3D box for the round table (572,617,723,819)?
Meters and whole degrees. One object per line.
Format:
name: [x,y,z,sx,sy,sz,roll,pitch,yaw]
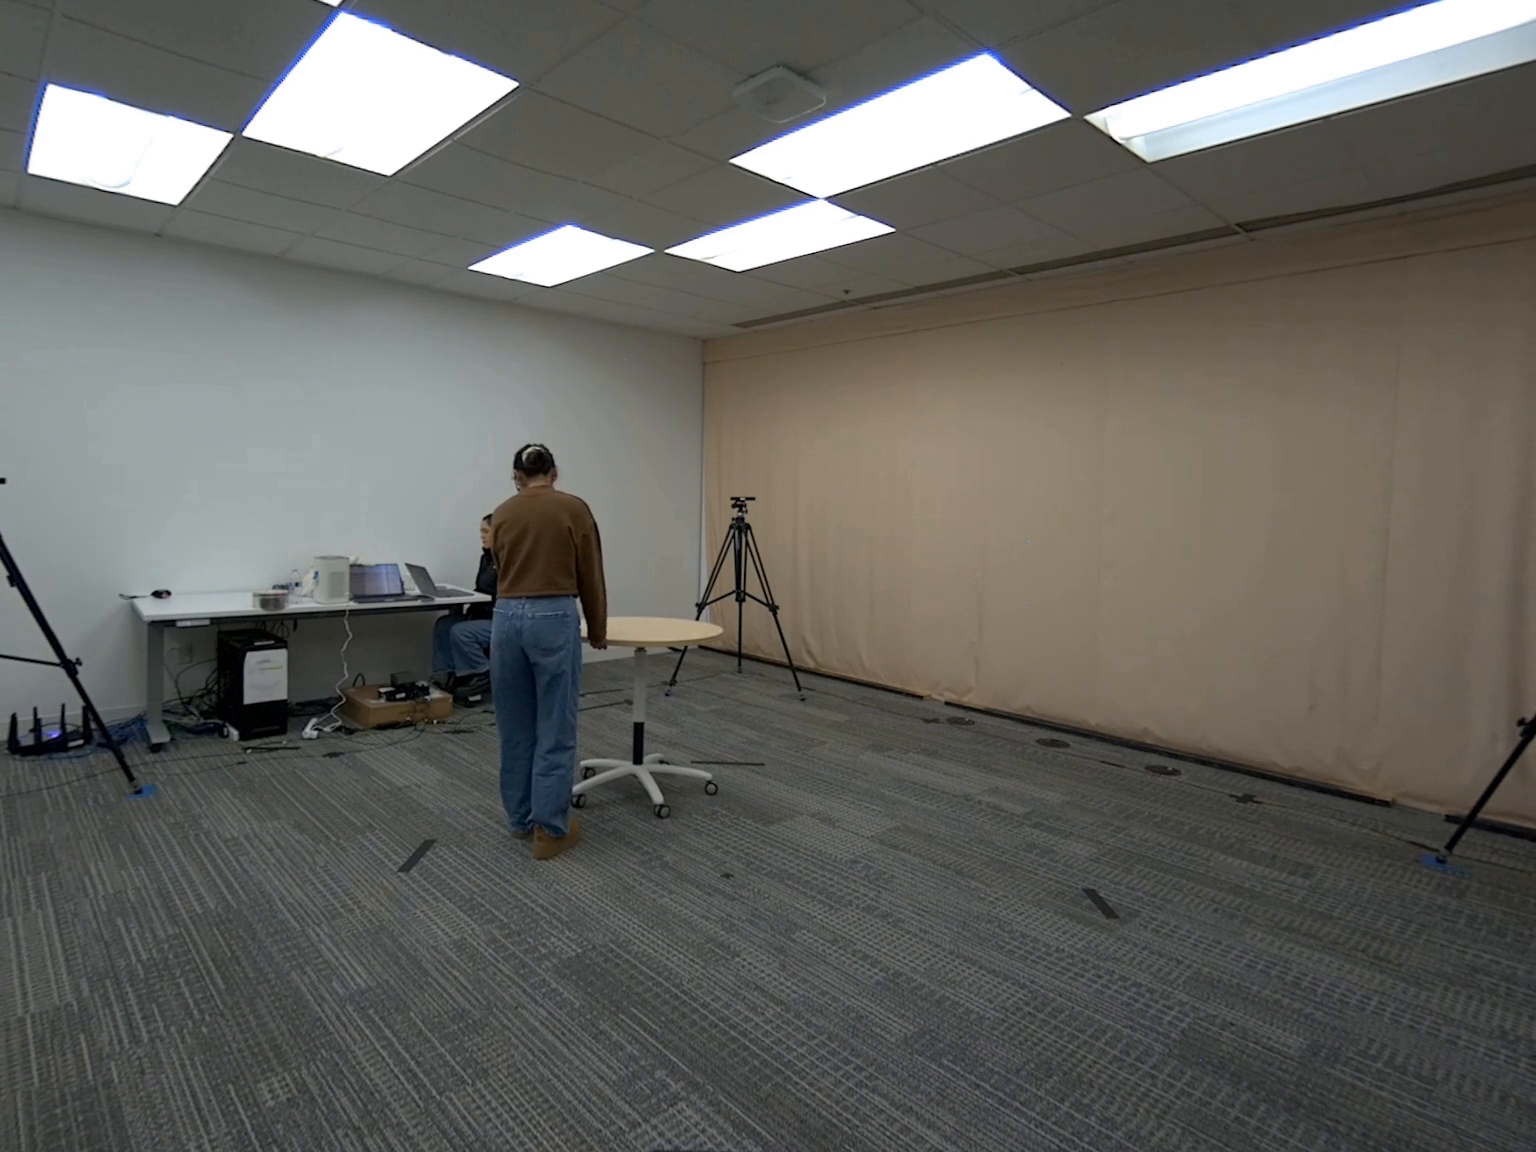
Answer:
round table: [-0.608,0.635,3.938,0.763,0.792,0.766,2,3,-1]
